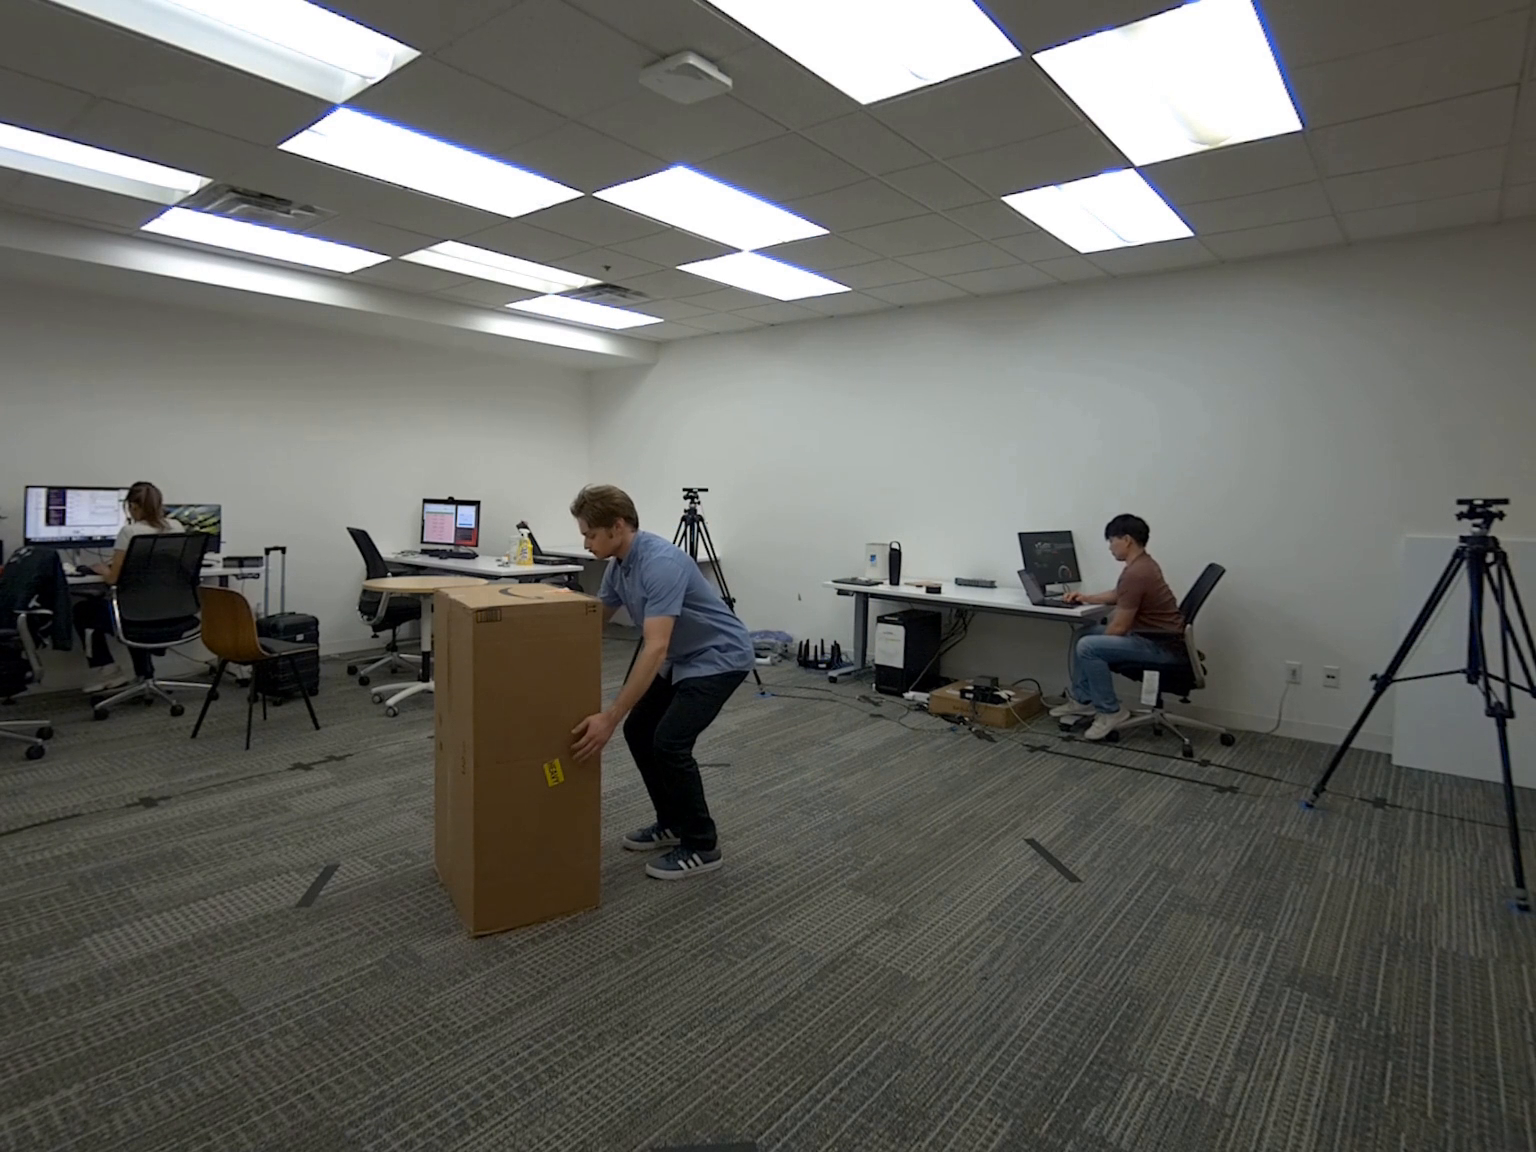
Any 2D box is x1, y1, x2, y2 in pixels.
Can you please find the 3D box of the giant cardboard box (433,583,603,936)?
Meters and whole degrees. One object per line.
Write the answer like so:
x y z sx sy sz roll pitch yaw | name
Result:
-0.882 0.566 2.928 0.414 1.023 0.595 -1 3 -32 | giant cardboard box
